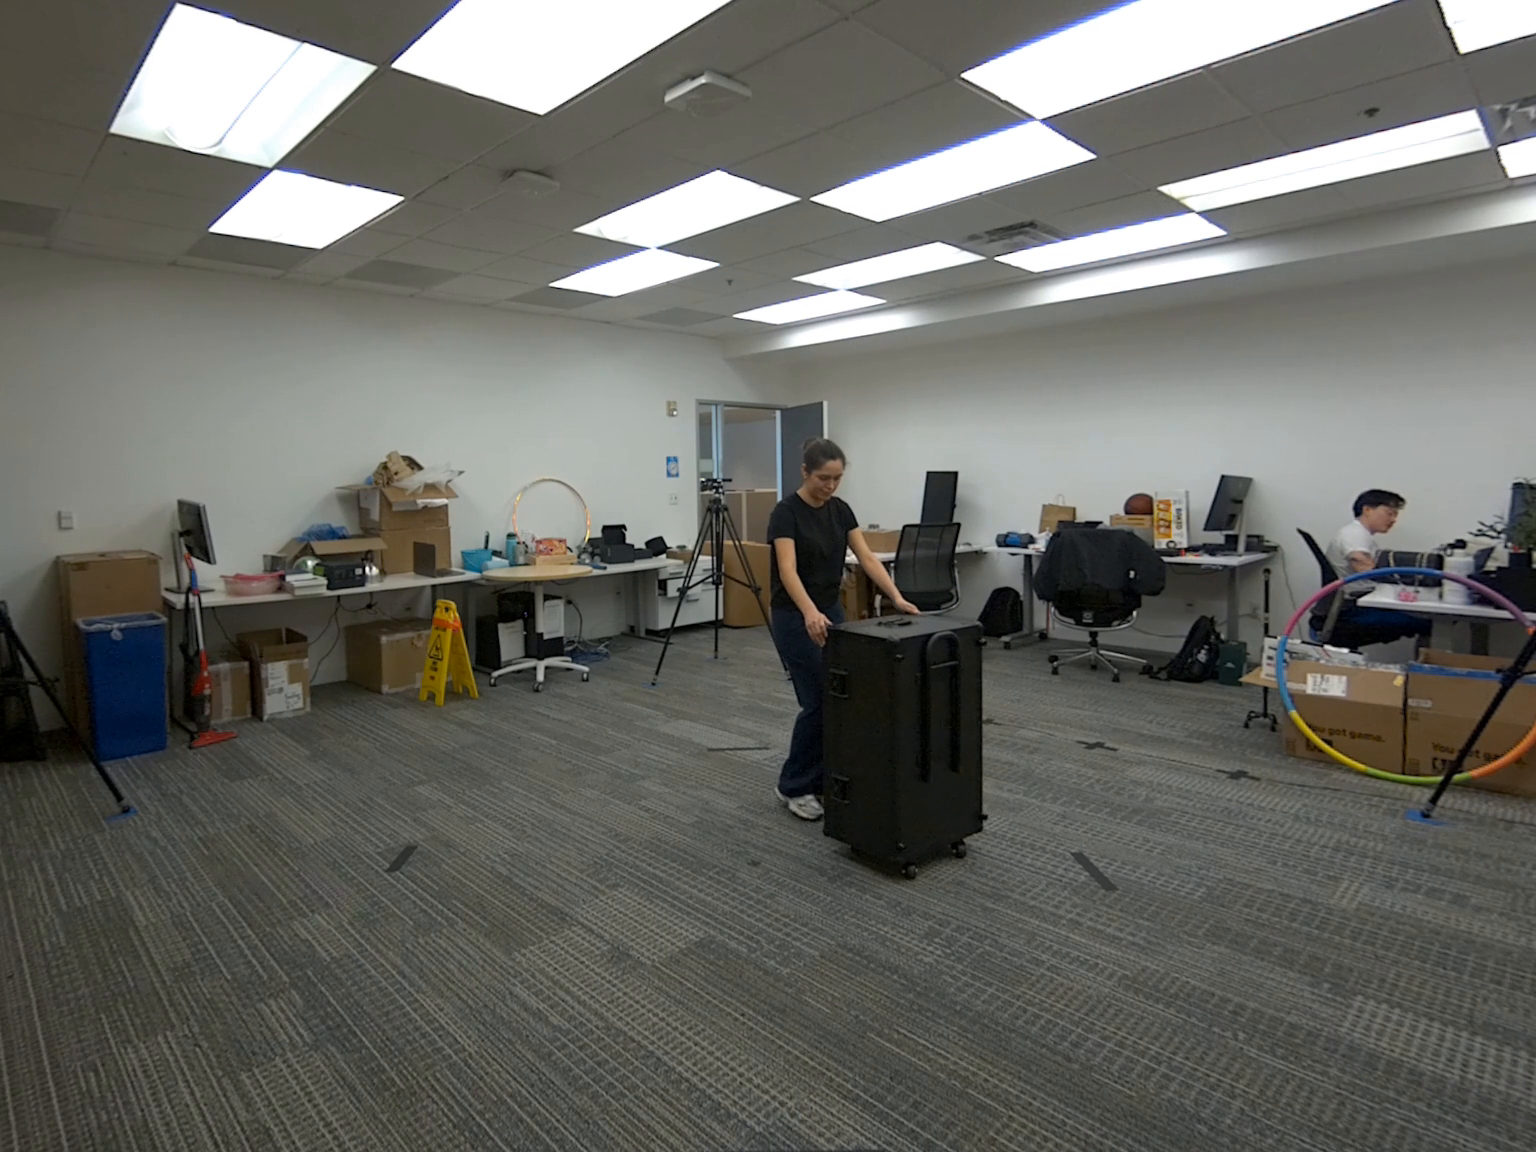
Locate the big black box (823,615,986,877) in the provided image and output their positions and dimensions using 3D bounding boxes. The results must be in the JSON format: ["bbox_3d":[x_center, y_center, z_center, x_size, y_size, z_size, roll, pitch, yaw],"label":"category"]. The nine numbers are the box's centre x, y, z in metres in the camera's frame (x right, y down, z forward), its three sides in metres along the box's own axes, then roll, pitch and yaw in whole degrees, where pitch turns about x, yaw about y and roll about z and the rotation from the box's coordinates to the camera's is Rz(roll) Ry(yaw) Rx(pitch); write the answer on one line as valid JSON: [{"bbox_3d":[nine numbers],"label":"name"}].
[{"bbox_3d":[0.508,0.600,3.168,0.508,0.858,0.408,-4,6,-38],"label":"big black box"}]
